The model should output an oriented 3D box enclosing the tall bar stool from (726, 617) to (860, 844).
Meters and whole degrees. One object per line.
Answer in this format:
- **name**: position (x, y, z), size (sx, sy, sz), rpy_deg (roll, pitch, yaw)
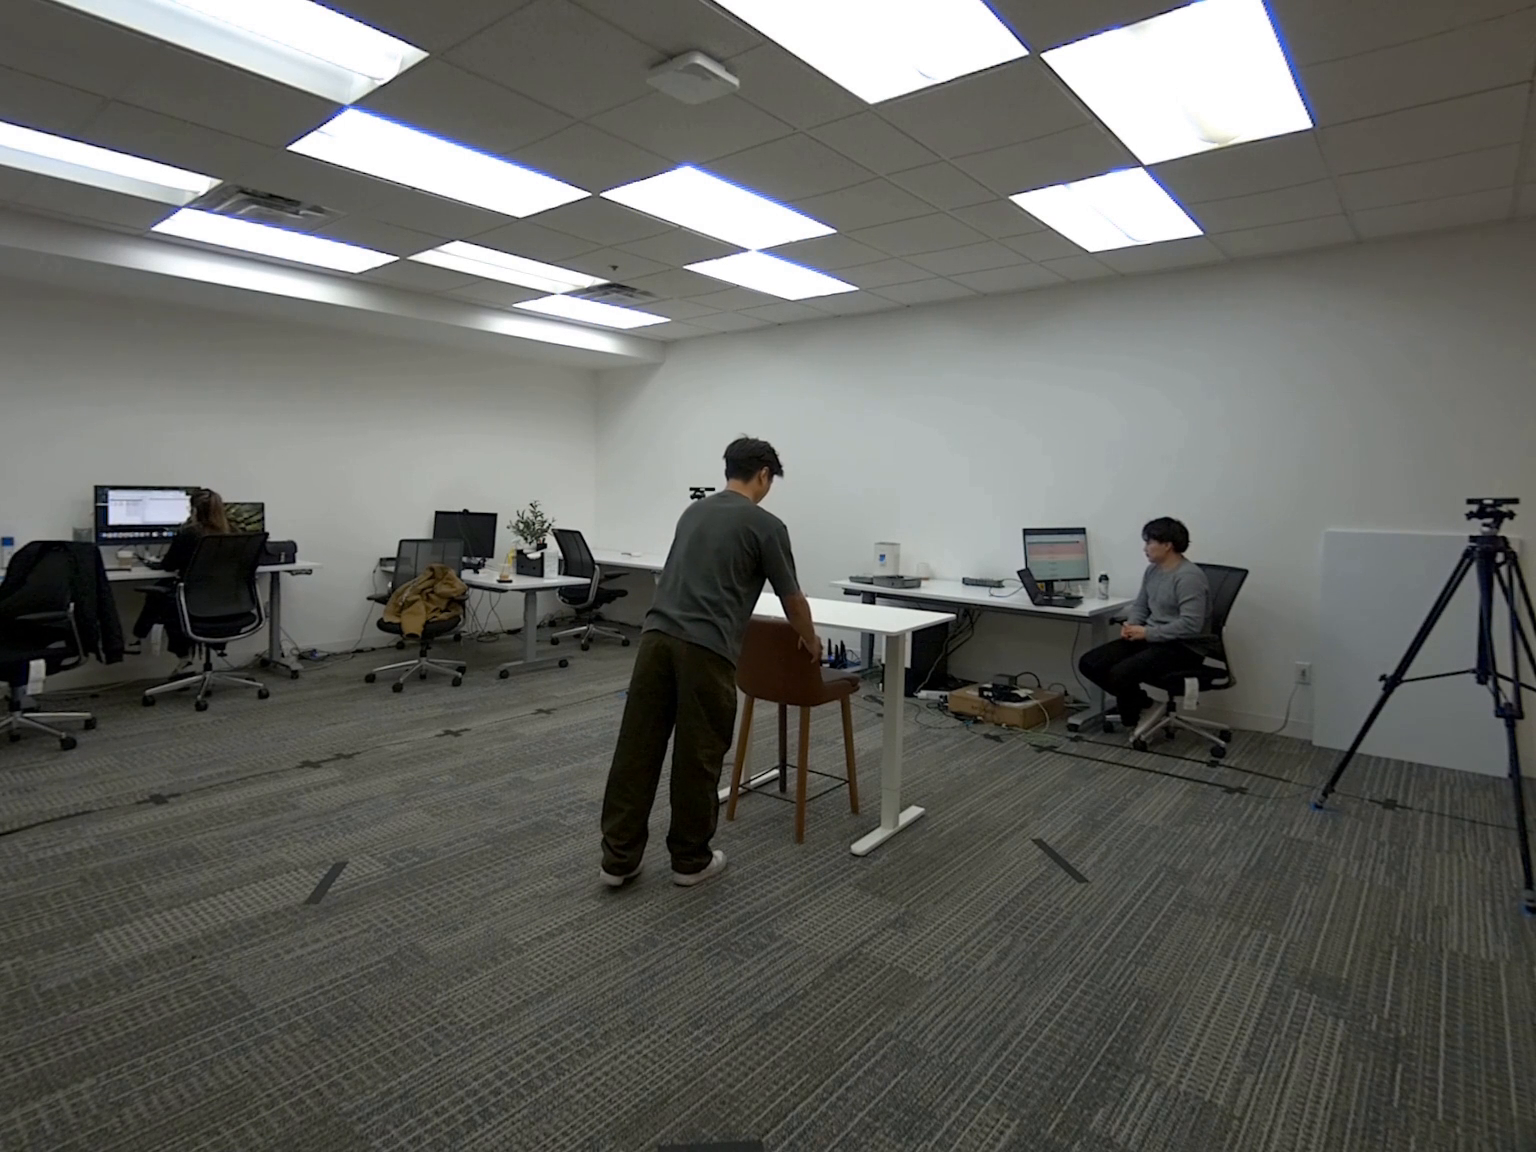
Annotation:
- **tall bar stool**: position (0.100, 0.589, 3.607), size (0.471, 0.885, 0.455), rpy_deg (3, 6, 37)
